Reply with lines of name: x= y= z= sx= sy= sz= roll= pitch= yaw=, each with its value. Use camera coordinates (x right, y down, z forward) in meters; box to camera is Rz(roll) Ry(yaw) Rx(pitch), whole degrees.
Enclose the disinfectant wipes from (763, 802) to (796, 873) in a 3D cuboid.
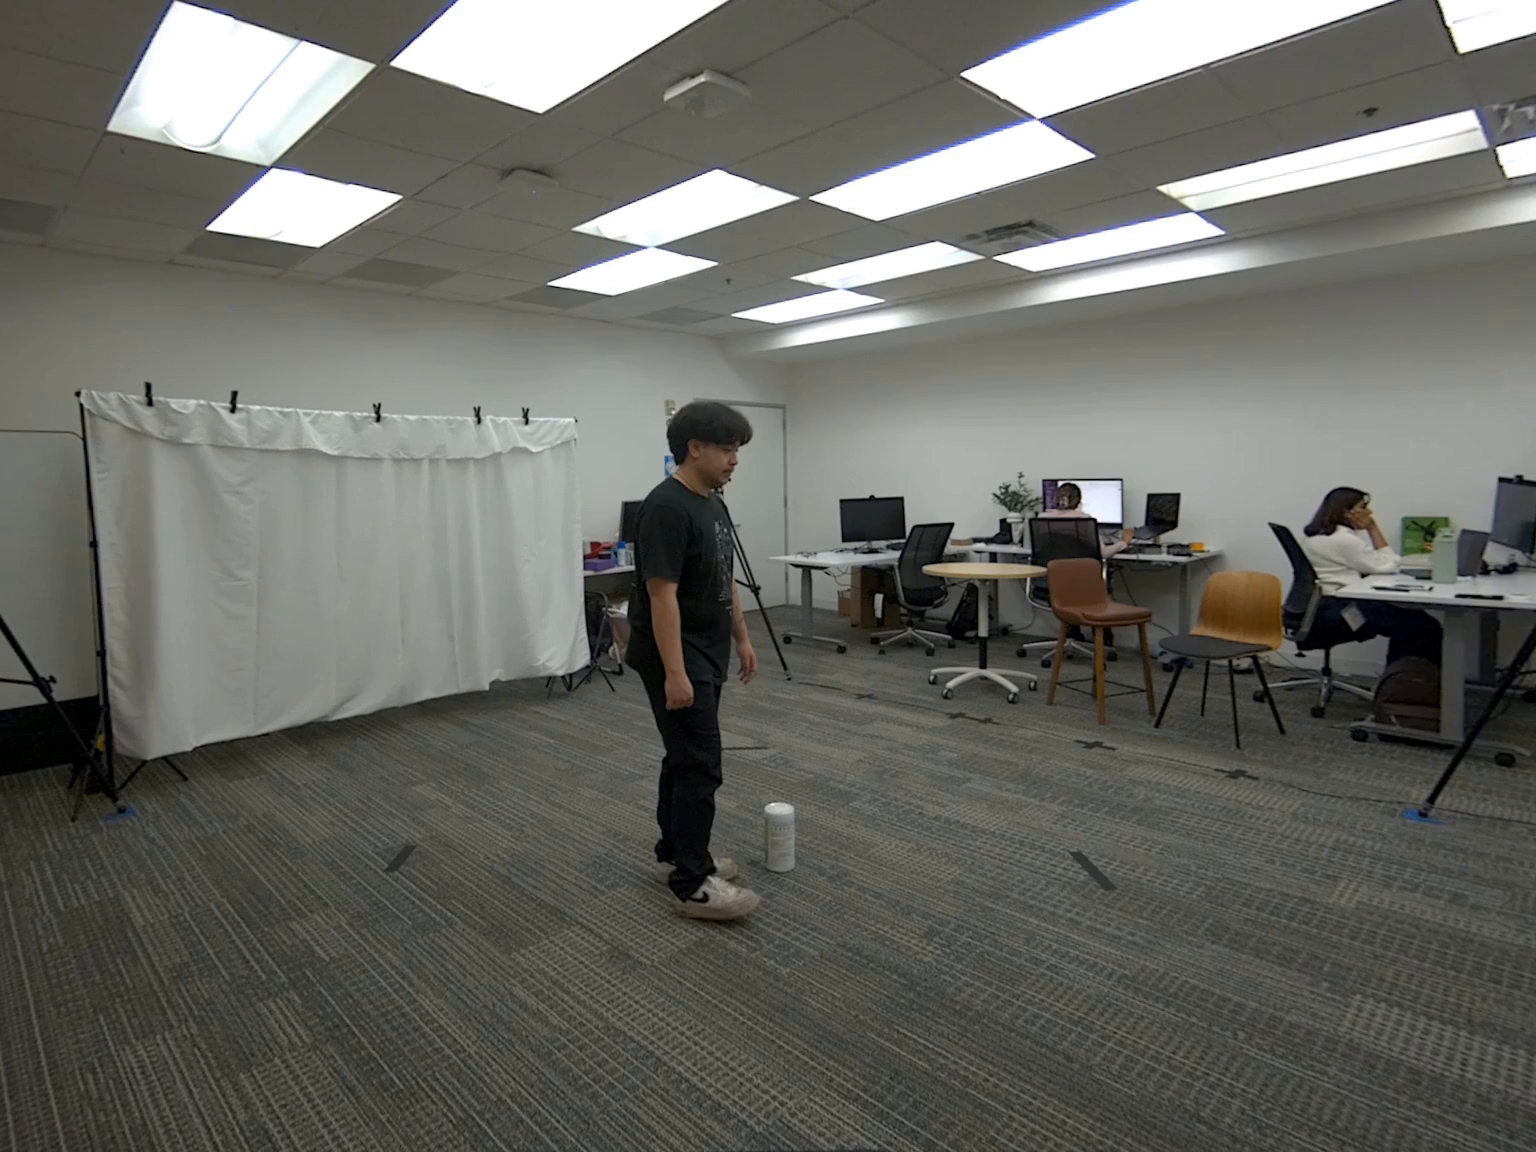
disinfectant wipes: x=0.046 y=0.939 z=3.070 sx=0.118 sy=0.217 sz=0.118 roll=-2 pitch=3 yaw=-2
